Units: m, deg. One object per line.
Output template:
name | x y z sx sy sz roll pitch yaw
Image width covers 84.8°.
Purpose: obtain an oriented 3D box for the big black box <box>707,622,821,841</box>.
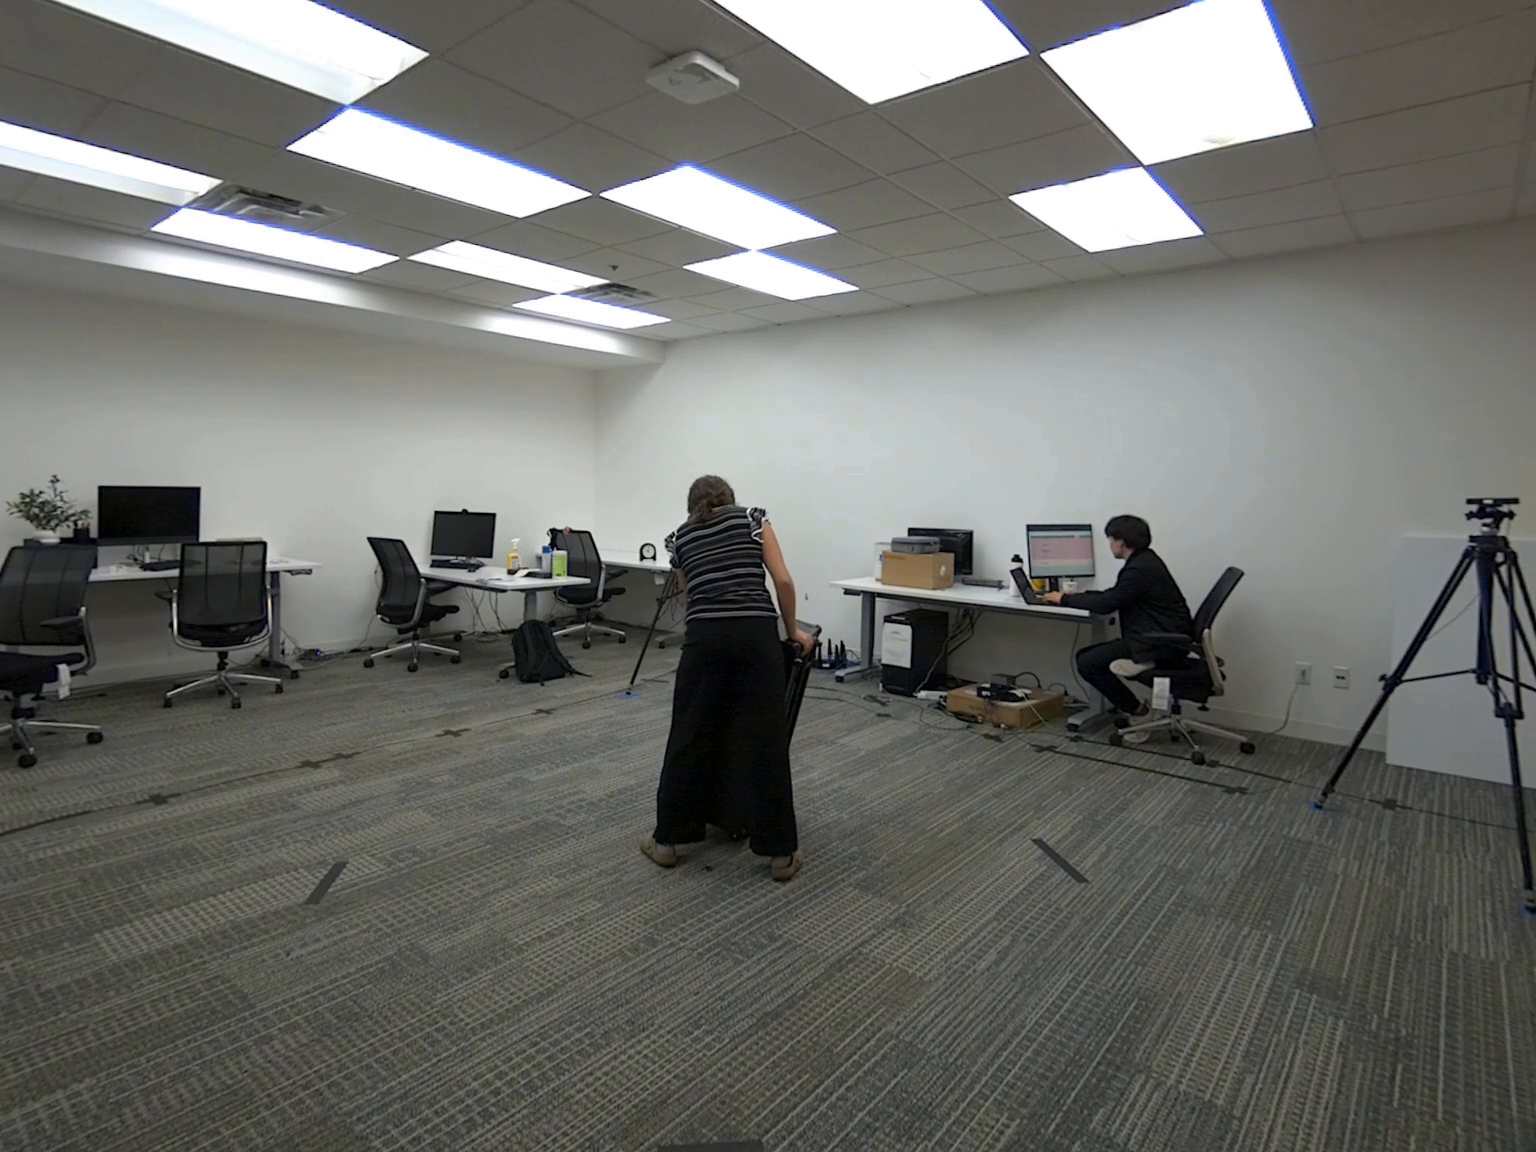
big black box | -0.094 0.595 3.485 0.404 0.857 0.514 16 7 13
